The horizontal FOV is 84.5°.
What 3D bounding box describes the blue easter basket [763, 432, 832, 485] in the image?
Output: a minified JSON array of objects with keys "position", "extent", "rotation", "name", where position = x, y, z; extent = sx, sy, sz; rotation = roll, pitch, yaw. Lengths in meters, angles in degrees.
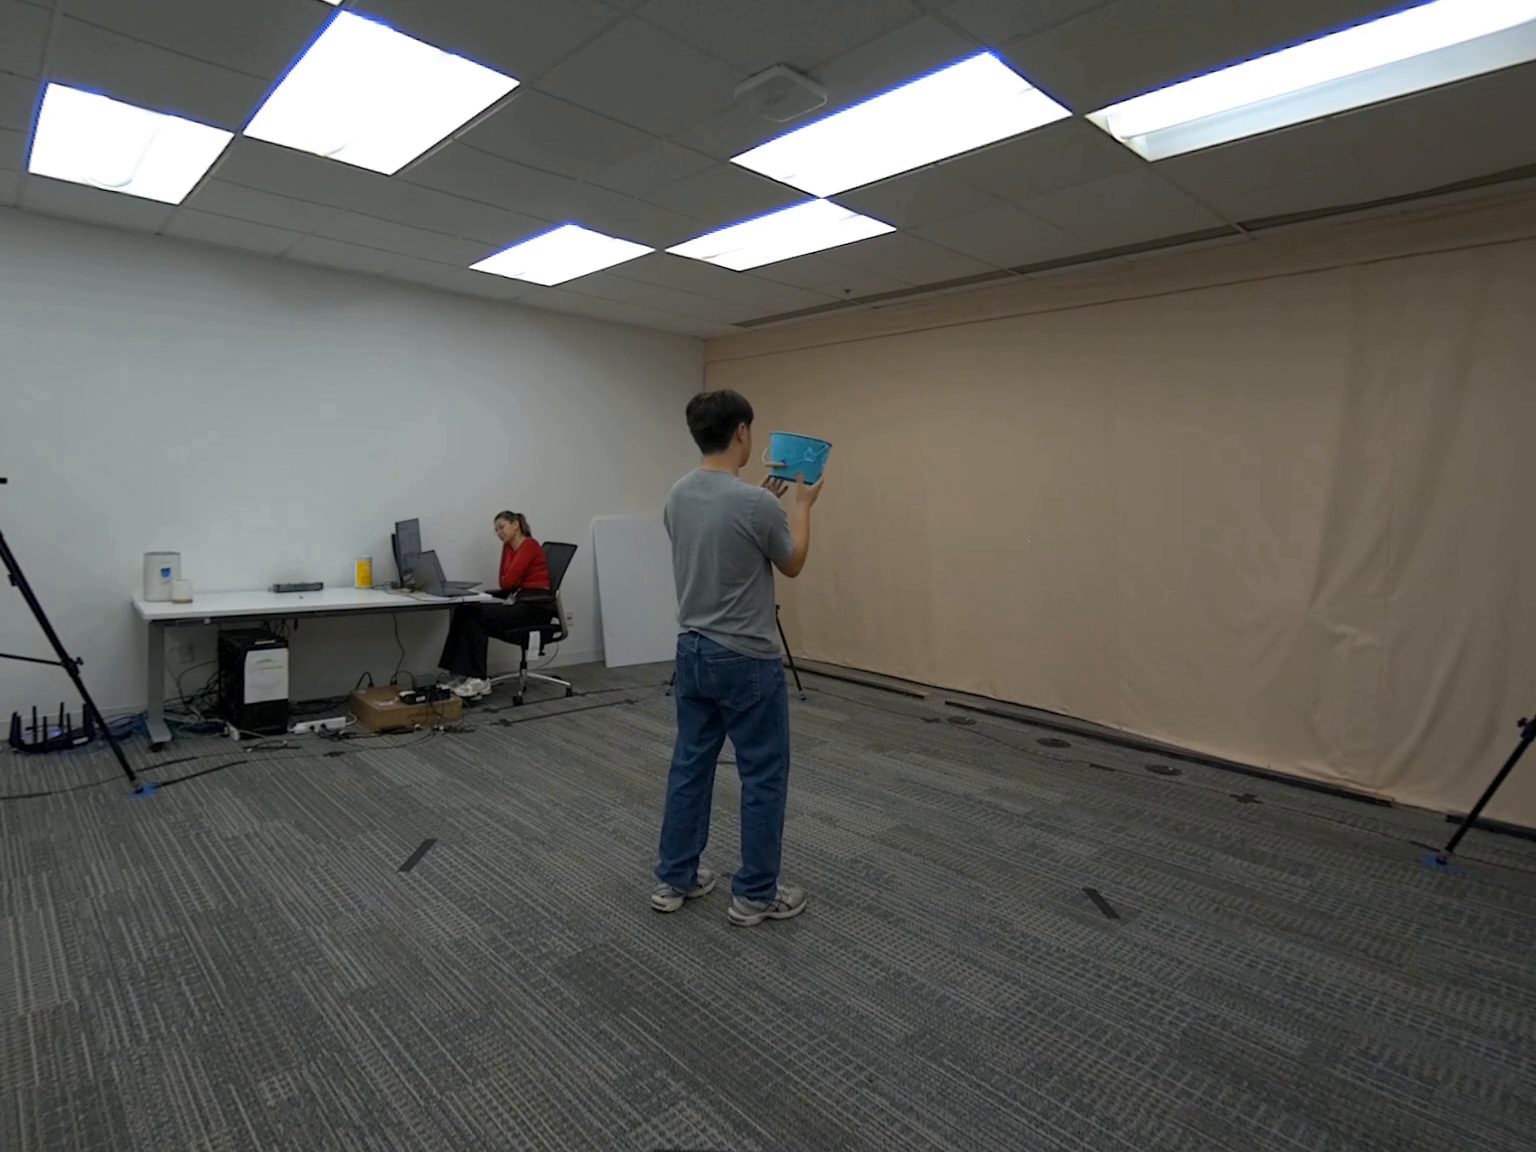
[{"position":[0.092,-0.420,3.055],"extent":[0.243,0.156,0.243],"rotation":[11,-1,-1],"name":"blue easter basket"}]
